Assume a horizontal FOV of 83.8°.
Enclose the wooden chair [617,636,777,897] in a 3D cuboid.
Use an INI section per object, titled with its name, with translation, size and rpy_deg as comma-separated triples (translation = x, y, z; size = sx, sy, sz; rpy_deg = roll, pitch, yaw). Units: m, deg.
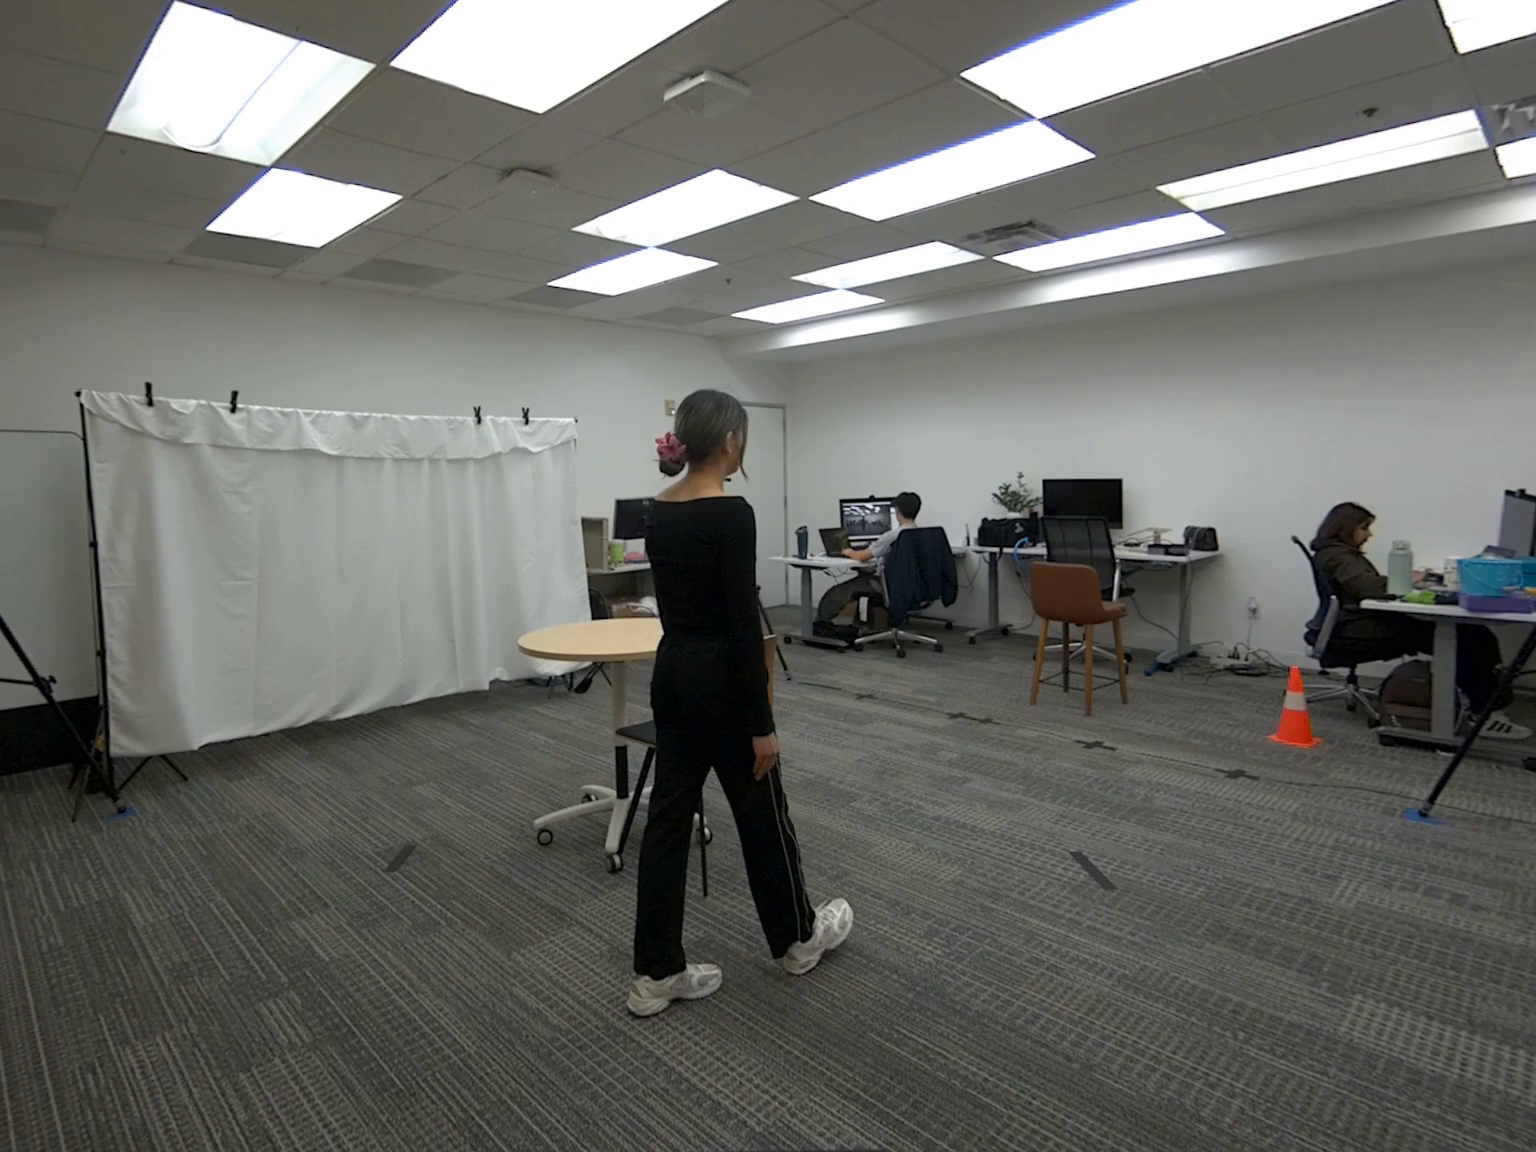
[wooden chair]
translation = -0.260, 0.612, 3.143
size = 0.540, 0.872, 0.466
rpy_deg = 8, 10, 40
